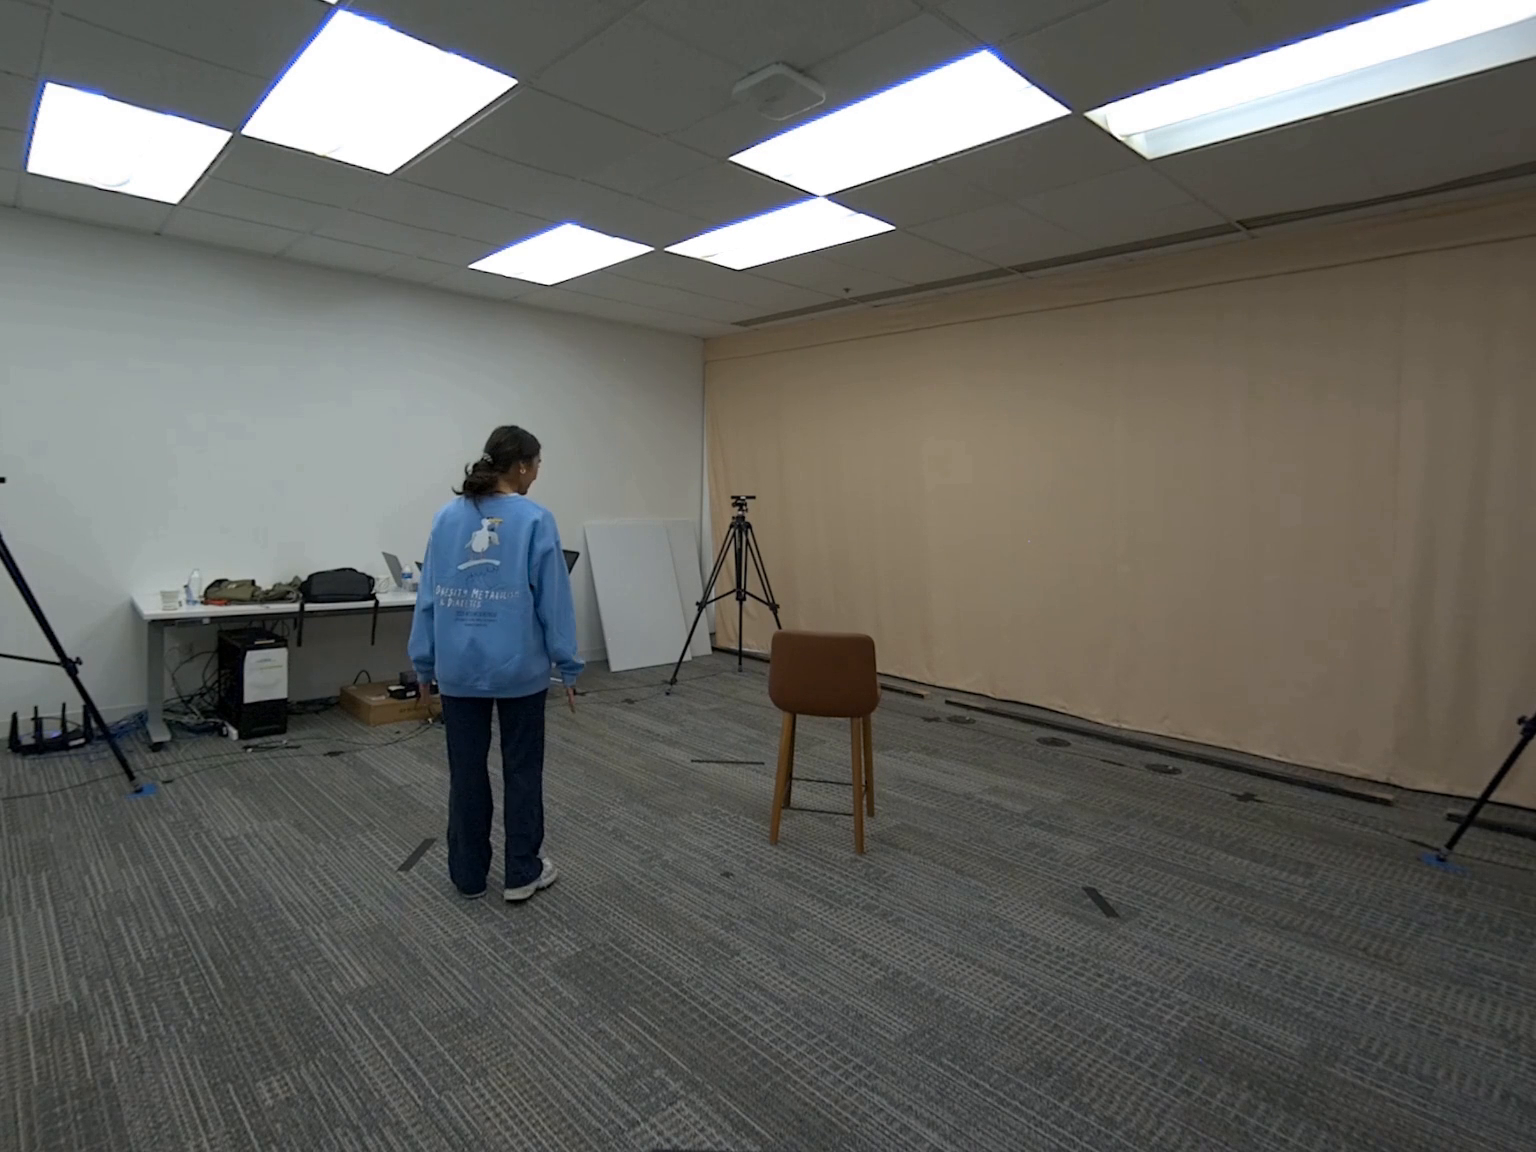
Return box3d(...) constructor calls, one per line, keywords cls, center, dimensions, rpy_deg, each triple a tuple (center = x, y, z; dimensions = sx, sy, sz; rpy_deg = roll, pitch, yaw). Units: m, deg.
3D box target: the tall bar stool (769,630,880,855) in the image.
box3d(cls="tall bar stool", center=(0.235, 0.639, 3.542), dimensions=(0.461, 0.887, 0.464), rpy_deg=(2, 4, 13))
